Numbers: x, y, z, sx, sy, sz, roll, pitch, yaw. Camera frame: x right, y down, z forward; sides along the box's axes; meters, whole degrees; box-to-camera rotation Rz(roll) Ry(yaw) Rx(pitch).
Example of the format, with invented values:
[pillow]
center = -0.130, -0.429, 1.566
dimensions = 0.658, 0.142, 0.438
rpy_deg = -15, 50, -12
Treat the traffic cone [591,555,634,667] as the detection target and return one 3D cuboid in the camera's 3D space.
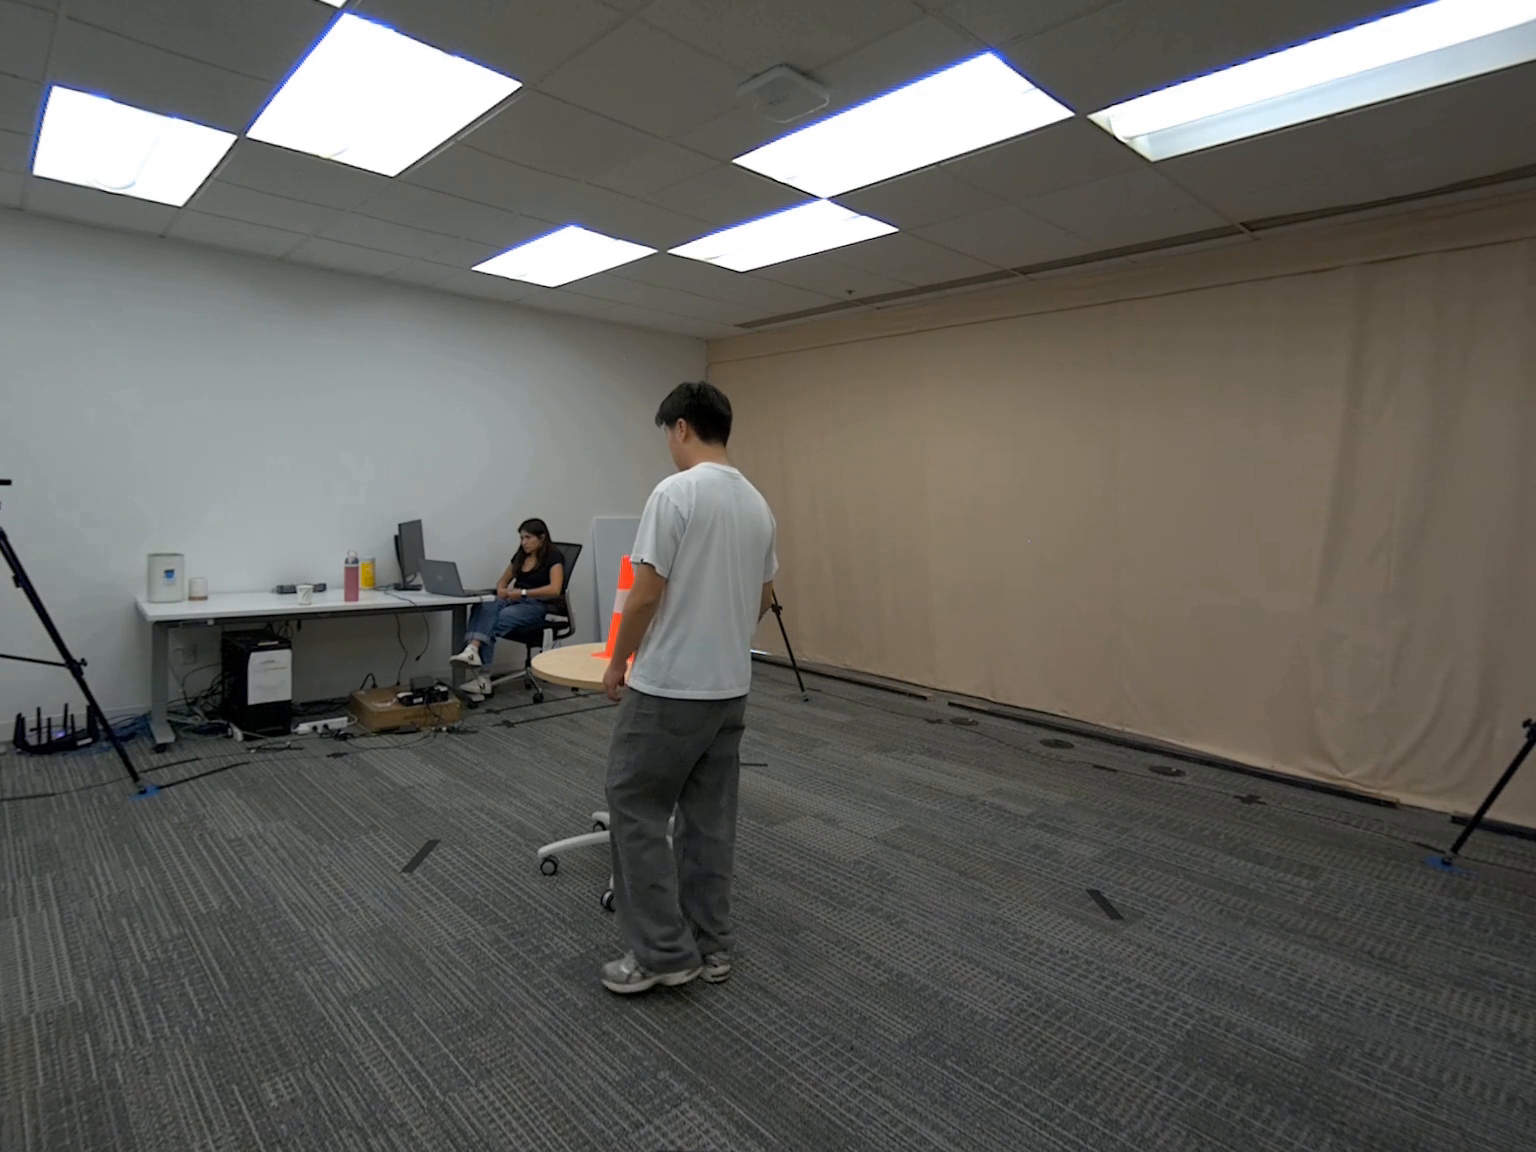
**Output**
[traffic cone]
center = -0.546, 0.123, 3.220
dimensions = 0.207, 0.383, 0.201
rpy_deg = 4, 4, 27
